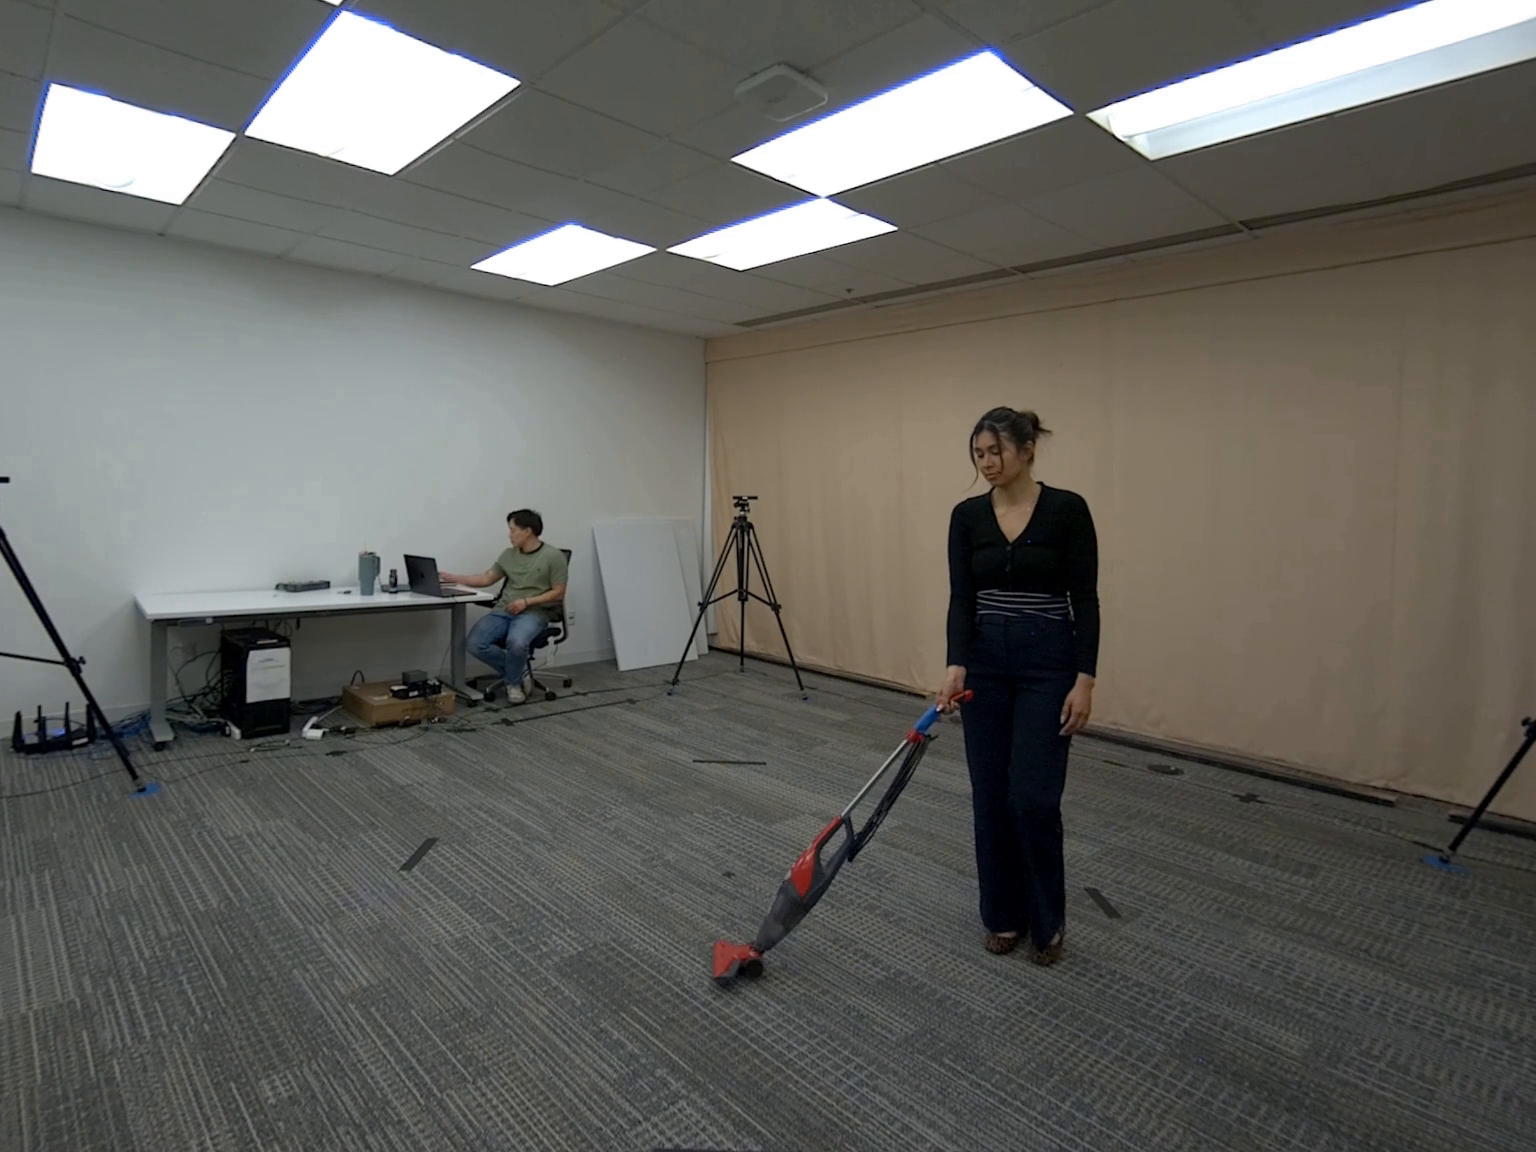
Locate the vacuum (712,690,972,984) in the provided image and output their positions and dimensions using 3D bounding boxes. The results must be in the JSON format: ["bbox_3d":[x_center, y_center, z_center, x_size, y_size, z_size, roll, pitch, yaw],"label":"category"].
[{"bbox_3d":[0.242,0.751,2.508,0.143,1.049,0.253,41,-3,-4],"label":"vacuum"}]
